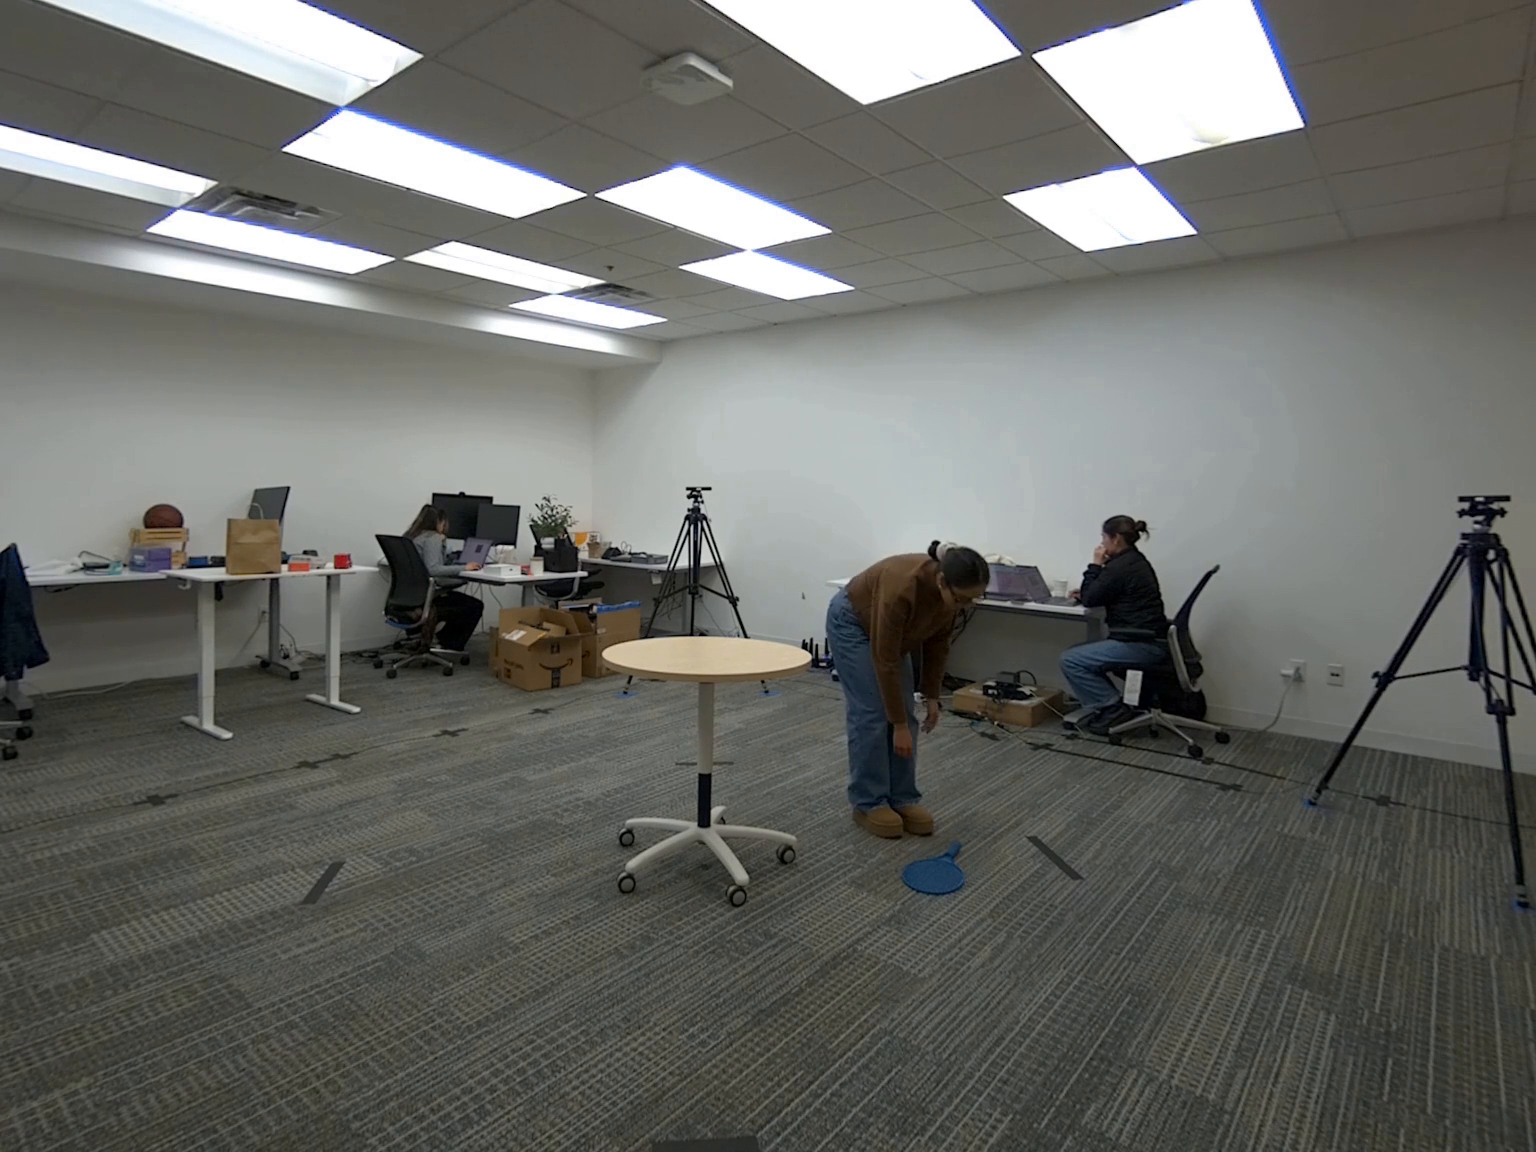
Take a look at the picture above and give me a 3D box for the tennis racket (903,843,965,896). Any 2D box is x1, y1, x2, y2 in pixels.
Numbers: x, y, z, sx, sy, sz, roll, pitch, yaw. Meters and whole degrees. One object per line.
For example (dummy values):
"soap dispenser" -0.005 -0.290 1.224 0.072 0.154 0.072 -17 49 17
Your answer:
"tennis racket" 0.626 1.064 3.135 0.220 0.031 0.422 5 9 31
